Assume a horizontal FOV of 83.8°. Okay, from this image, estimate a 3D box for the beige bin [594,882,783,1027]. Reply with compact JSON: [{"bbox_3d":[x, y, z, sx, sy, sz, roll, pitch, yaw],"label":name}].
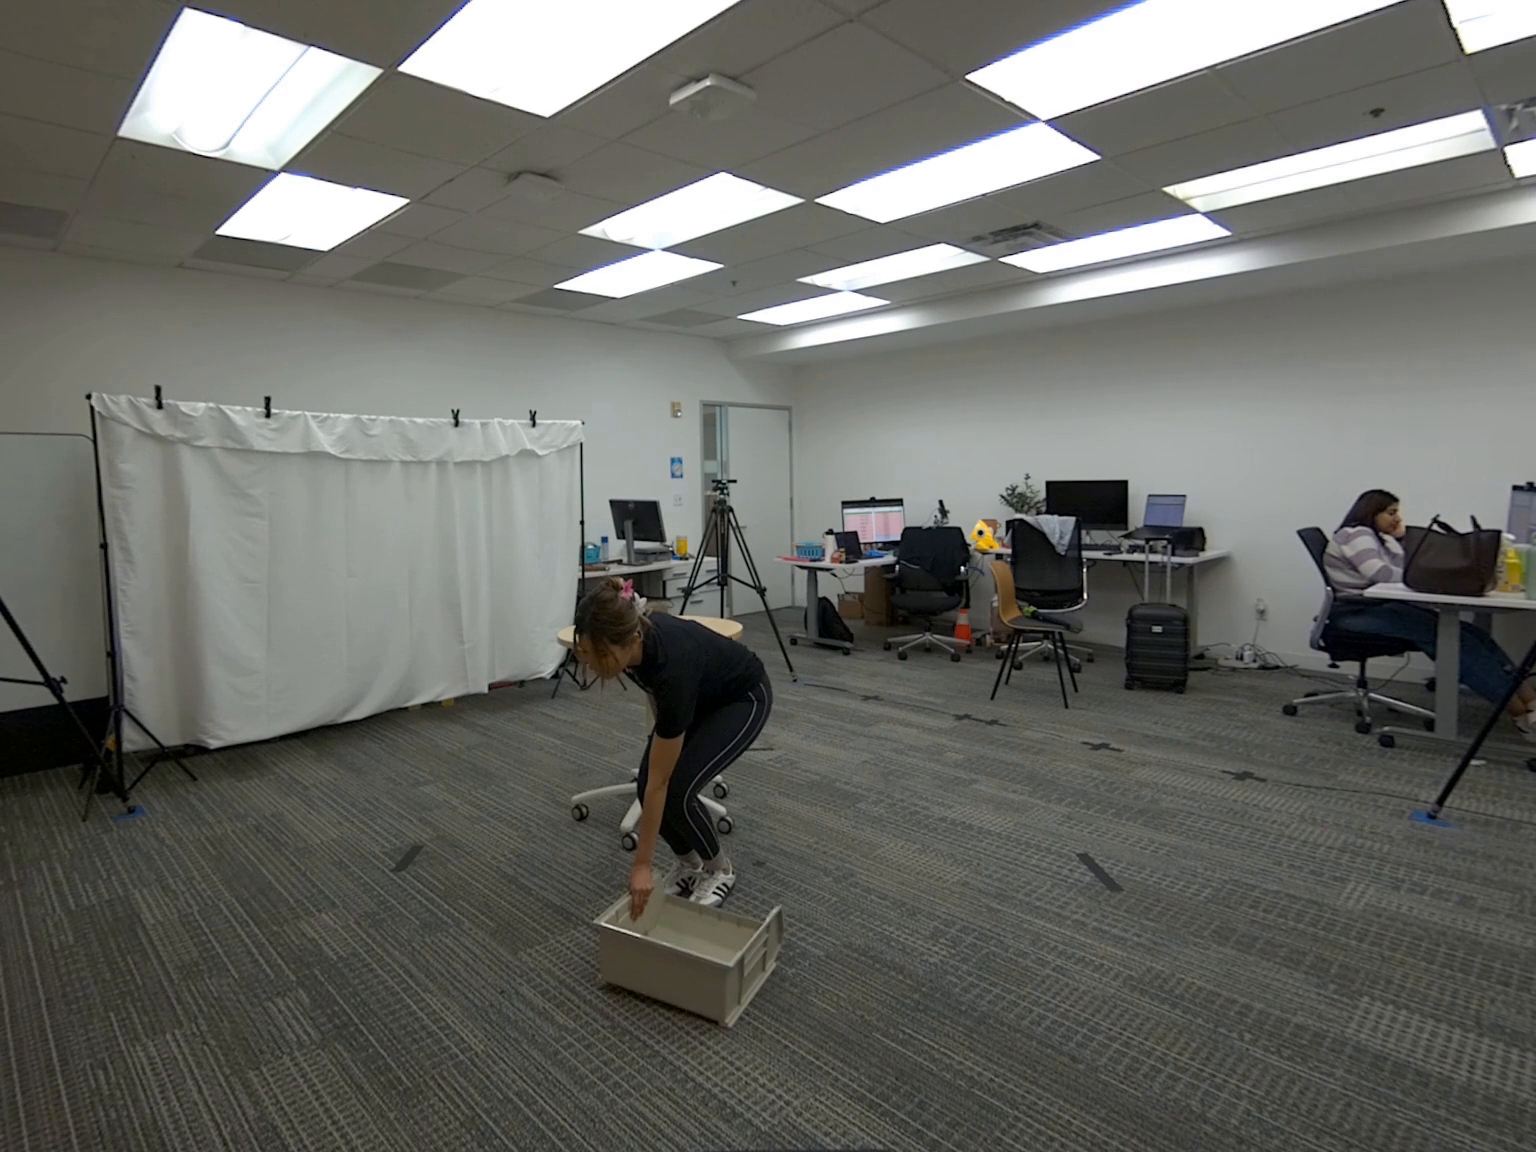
[{"bbox_3d":[-0.212,1.030,2.413,0.433,0.188,0.371,6,10,25],"label":"beige bin"}]
